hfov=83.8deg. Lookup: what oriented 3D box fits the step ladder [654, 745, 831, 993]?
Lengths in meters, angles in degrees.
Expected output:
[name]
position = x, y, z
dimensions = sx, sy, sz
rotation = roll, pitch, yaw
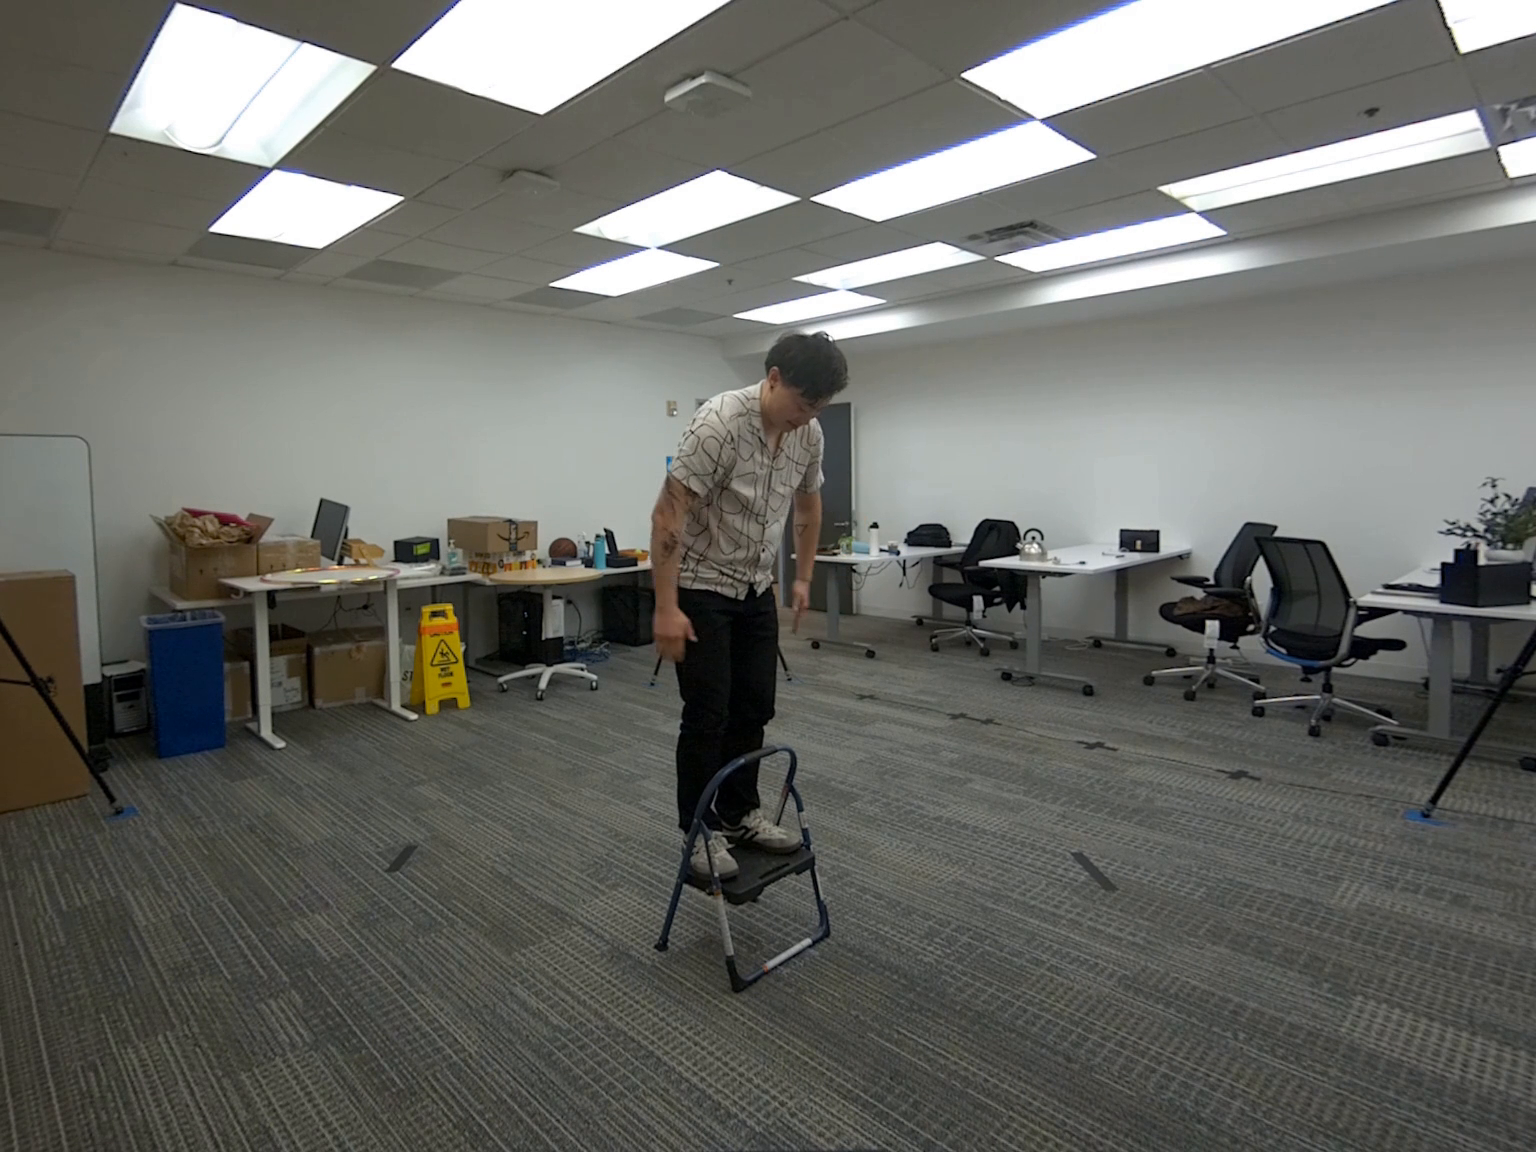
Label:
[step ladder]
position = -0.072, 0.803, 2.564
dimensions = 0.360, 0.603, 0.419
rotation = 4, 7, 43
